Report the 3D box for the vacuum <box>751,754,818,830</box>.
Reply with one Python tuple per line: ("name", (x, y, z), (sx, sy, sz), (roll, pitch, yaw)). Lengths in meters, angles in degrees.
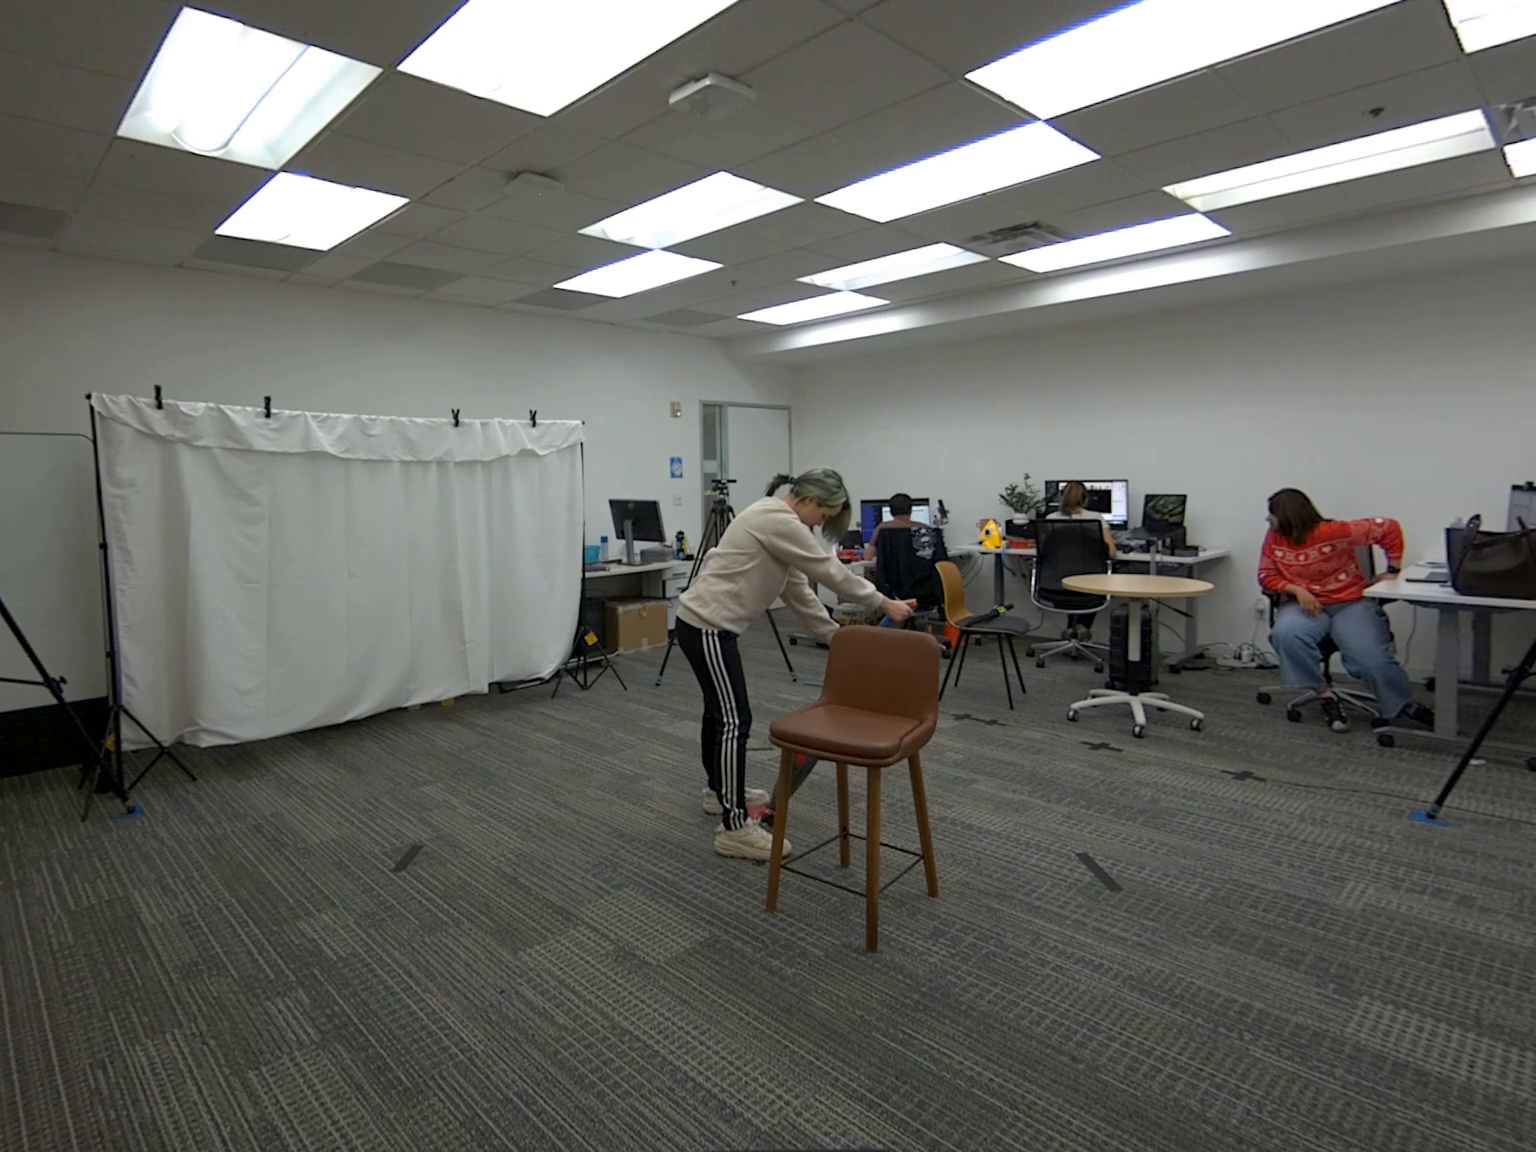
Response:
("vacuum", (0.265, 0.542, 3.400), (0.141, 1.050, 0.257), (37, -3, -15))
